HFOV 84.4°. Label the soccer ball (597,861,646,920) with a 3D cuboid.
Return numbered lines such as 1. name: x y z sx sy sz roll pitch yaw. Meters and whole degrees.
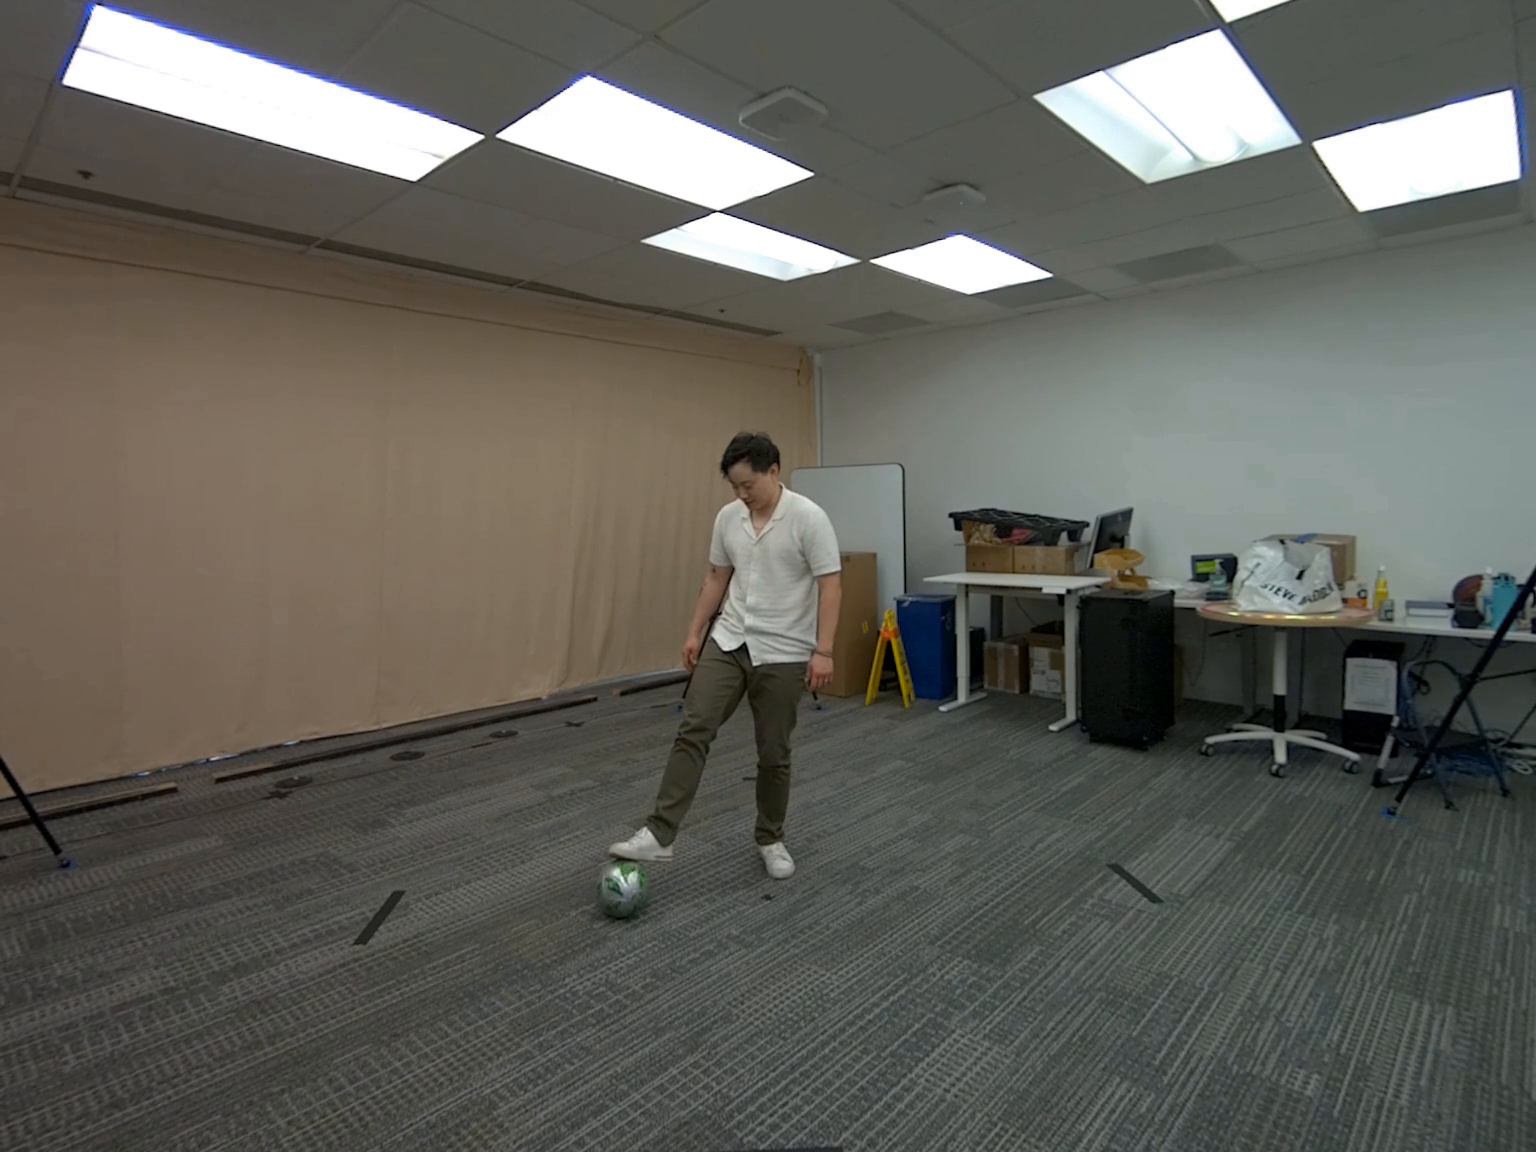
1. soccer ball: -0.489 1.073 2.897 0.187 0.187 0.188 -1 4 -2
